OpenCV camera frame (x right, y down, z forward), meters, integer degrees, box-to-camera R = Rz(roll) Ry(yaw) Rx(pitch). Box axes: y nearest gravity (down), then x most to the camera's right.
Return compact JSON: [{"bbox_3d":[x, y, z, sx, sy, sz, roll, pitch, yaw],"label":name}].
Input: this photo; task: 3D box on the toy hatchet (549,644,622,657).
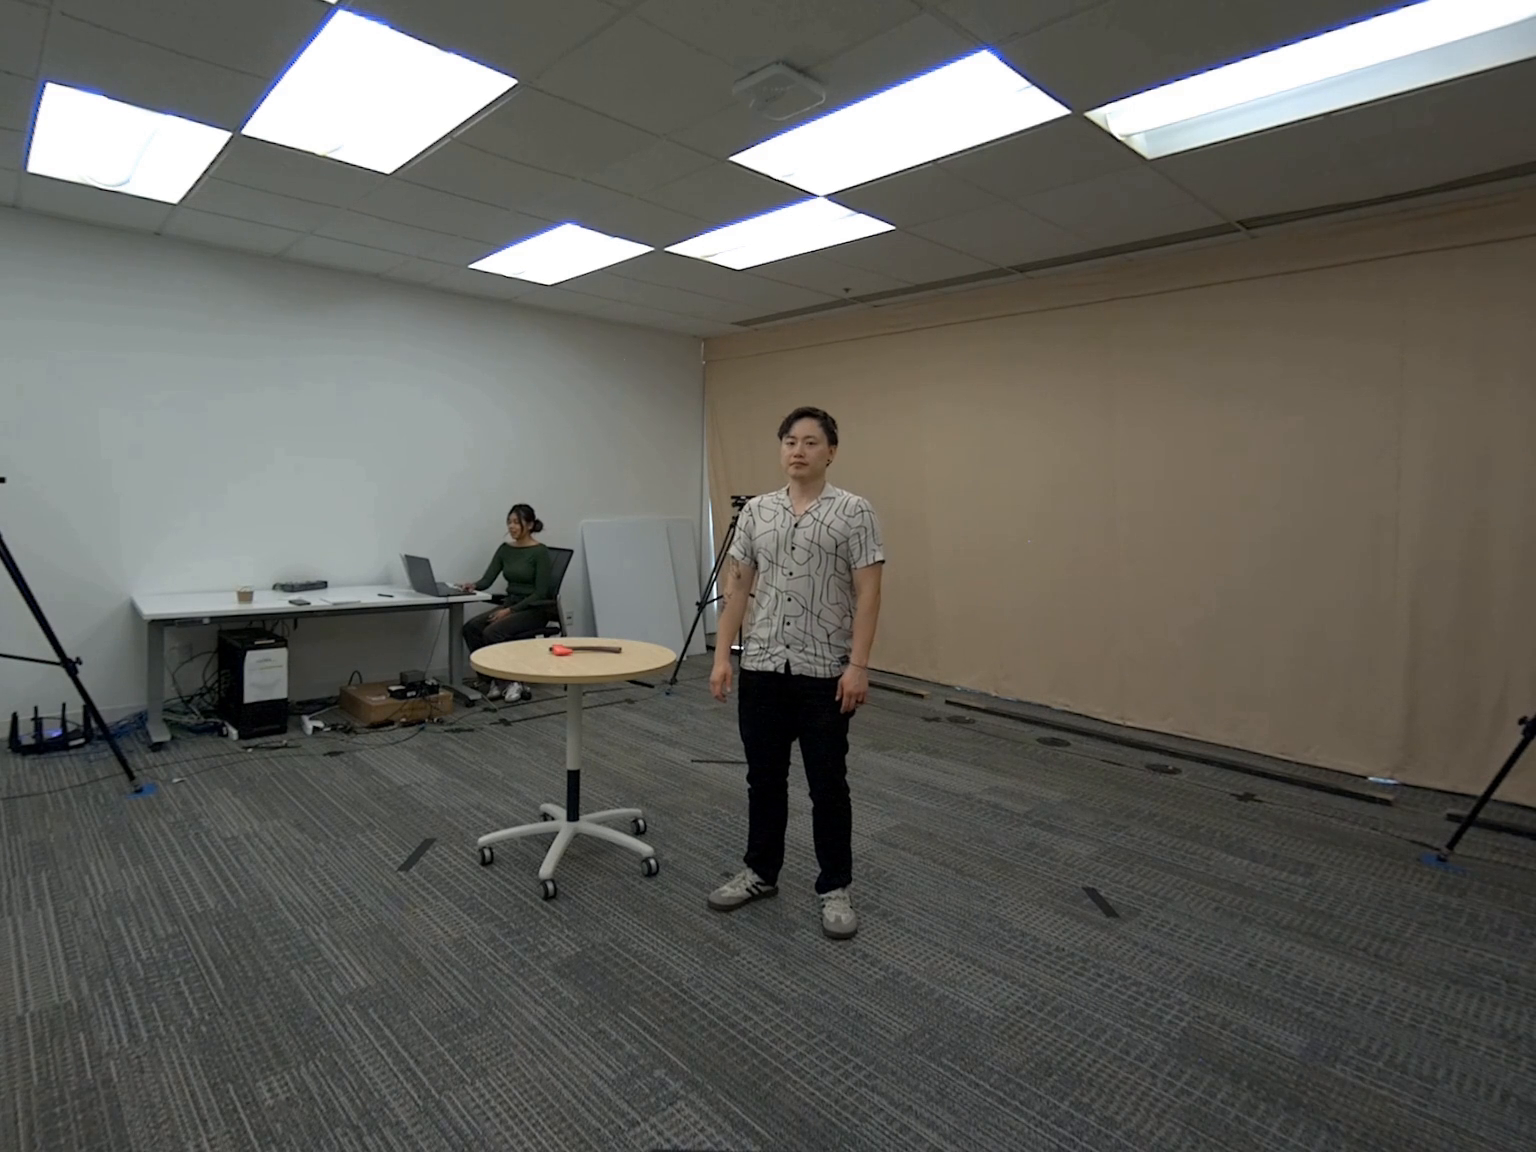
[{"bbox_3d":[-0.703,0.283,3.211,0.270,0.029,0.131,2,7,-1],"label":"toy hatchet"}]
